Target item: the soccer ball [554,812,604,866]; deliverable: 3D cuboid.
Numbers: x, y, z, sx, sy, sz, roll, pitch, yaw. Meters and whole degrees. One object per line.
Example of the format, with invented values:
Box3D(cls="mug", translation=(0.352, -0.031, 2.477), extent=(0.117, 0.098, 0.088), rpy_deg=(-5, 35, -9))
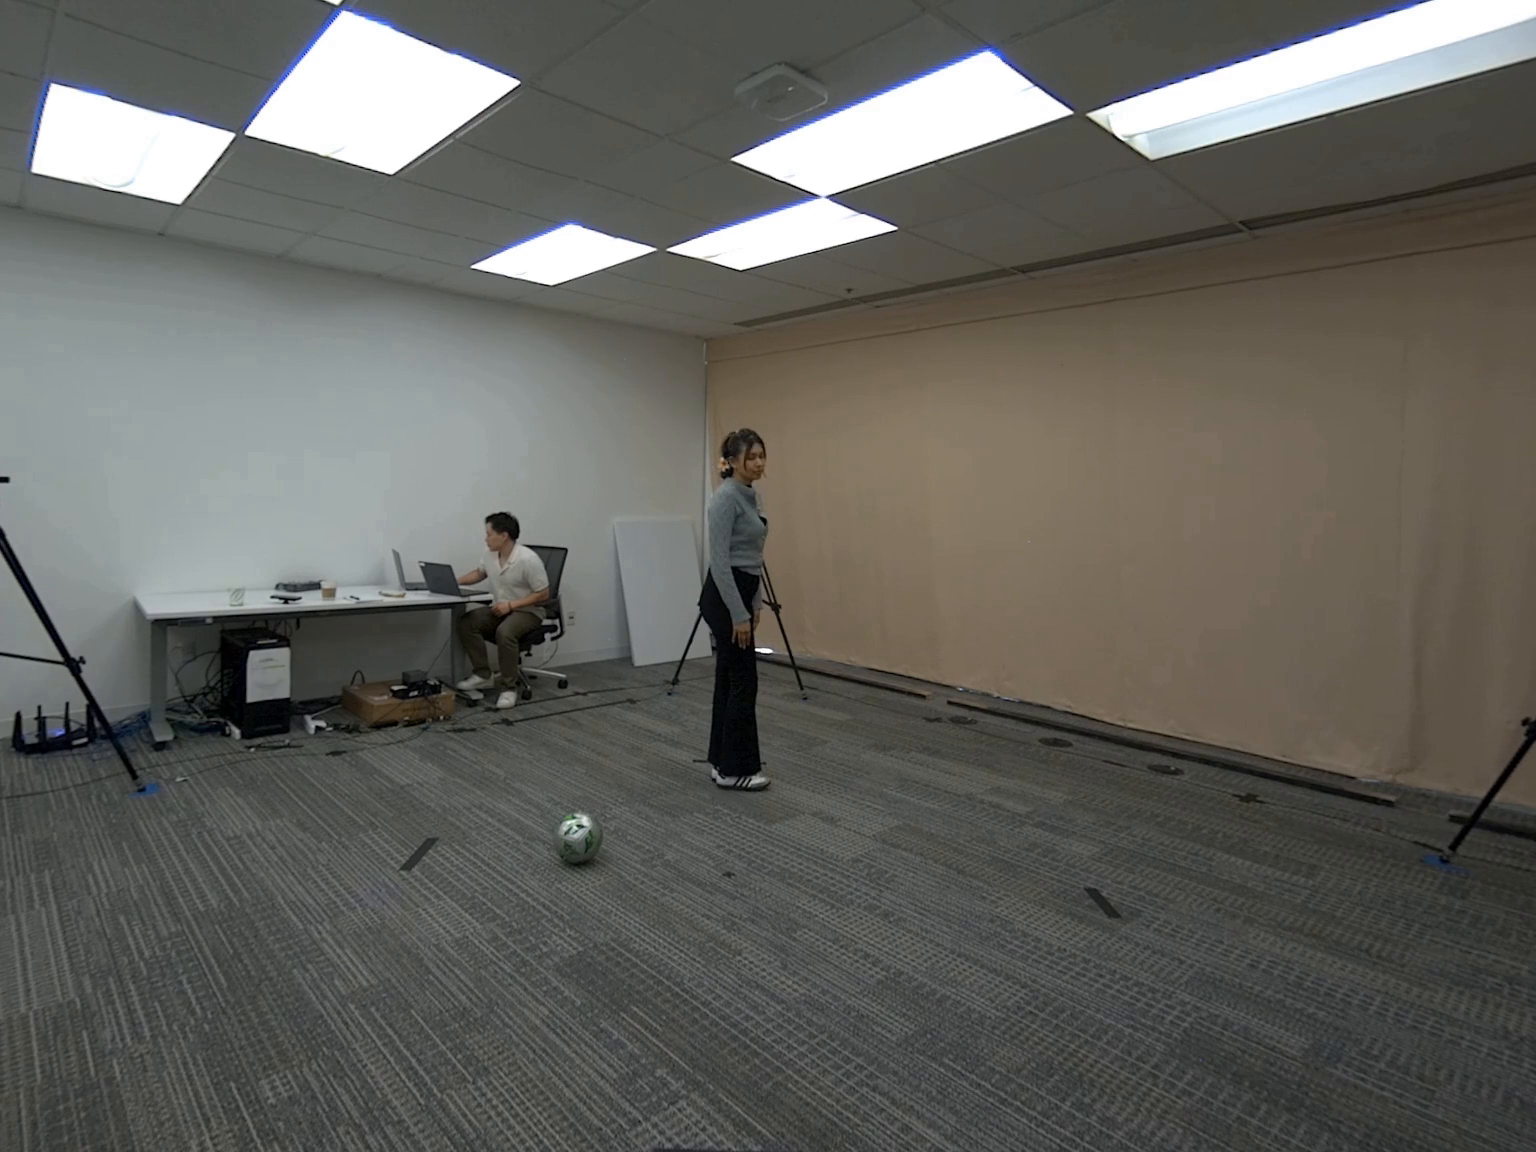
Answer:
Box3D(cls="soccer ball", translation=(-0.729, 0.988, 3.172), extent=(0.187, 0.187, 0.188), rpy_deg=(1, 4, -1))
